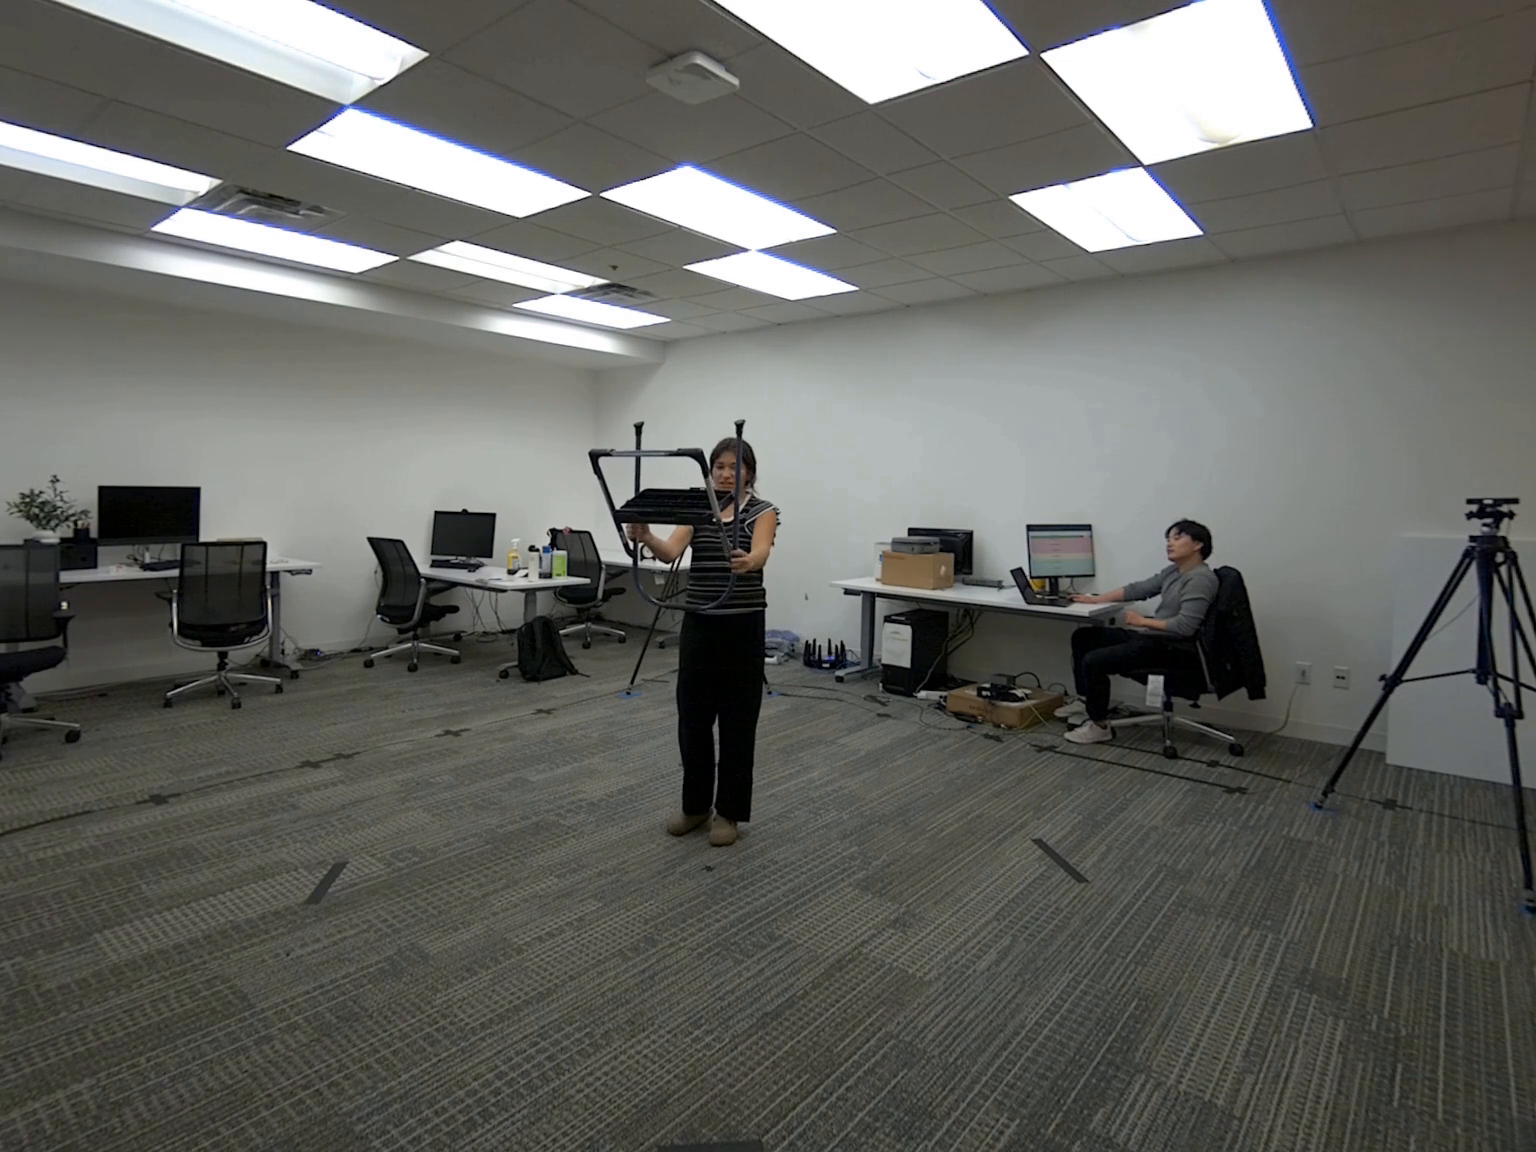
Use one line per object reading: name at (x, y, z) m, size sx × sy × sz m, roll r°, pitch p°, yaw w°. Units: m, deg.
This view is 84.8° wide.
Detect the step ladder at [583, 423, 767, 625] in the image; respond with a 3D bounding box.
step ladder at (-0.308, -0.185, 2.923) m, size 0.442 × 0.592 × 0.348 m, roll 3°, pitch 25°, yaw 25°
